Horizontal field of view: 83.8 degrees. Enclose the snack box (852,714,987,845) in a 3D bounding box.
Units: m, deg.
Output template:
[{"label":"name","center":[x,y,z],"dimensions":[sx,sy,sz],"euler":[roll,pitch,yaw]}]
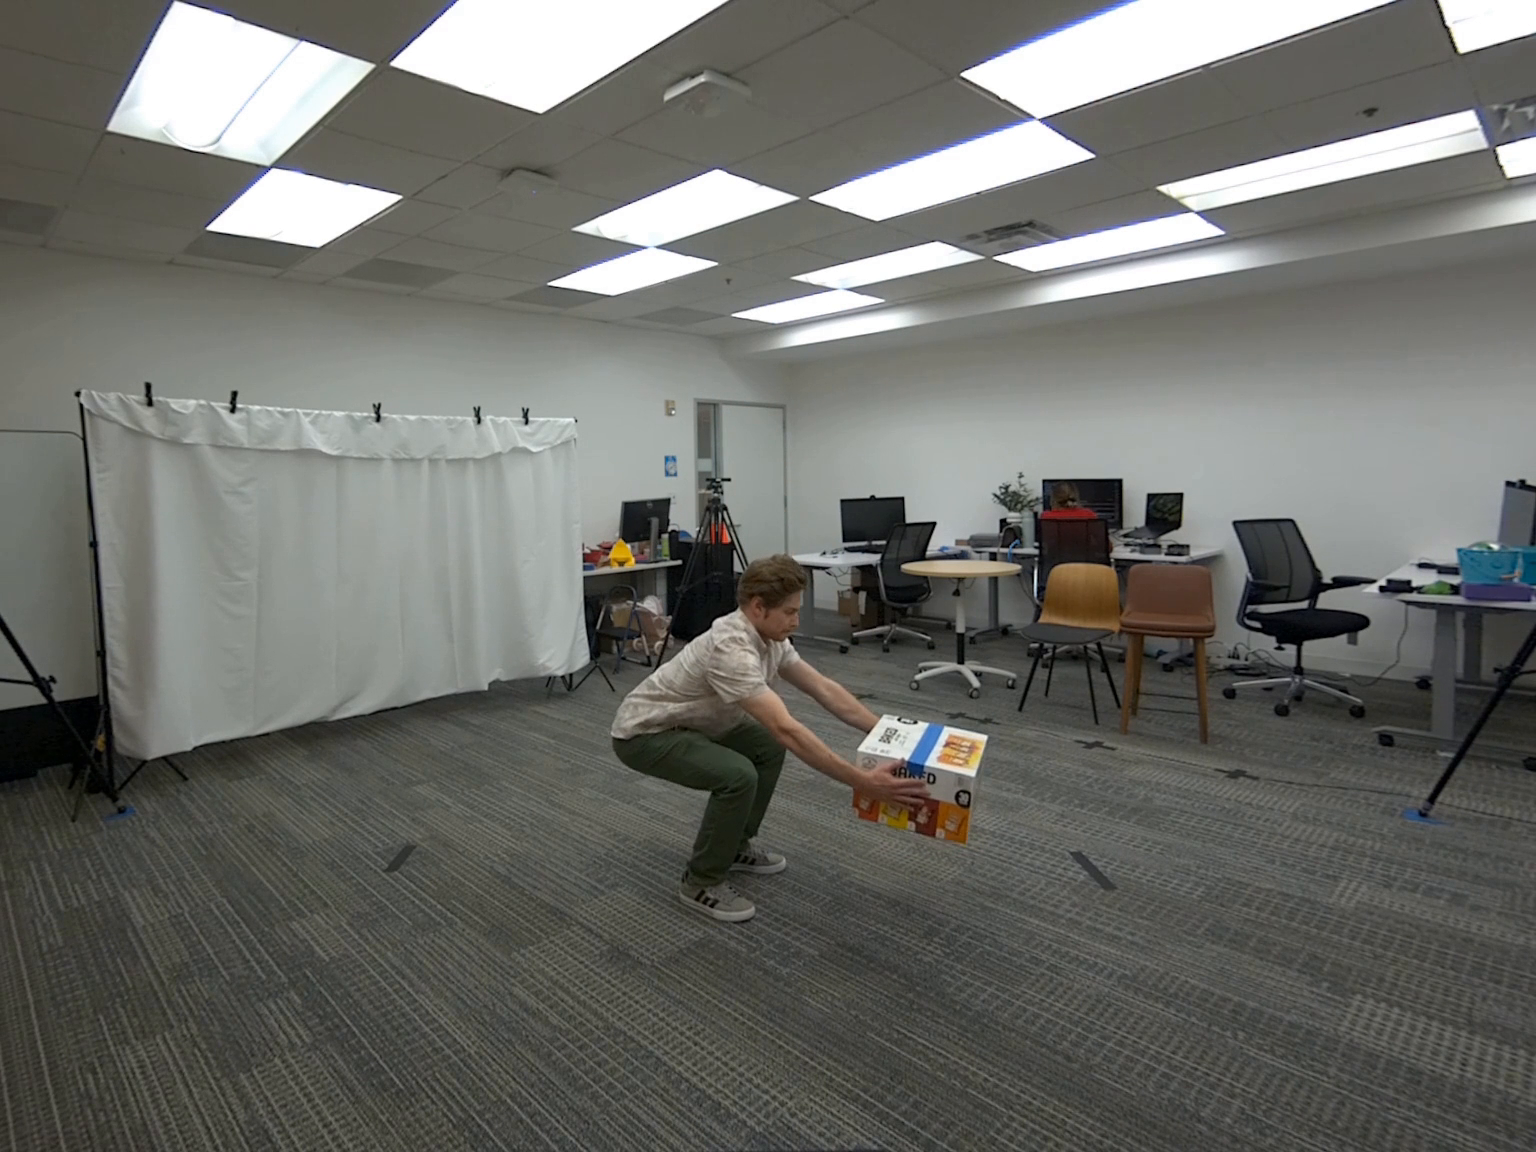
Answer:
[{"label":"snack box","center":[0.477,0.606,2.647],"dimensions":[0.348,0.204,0.399],"euler":[8,9,20]}]
